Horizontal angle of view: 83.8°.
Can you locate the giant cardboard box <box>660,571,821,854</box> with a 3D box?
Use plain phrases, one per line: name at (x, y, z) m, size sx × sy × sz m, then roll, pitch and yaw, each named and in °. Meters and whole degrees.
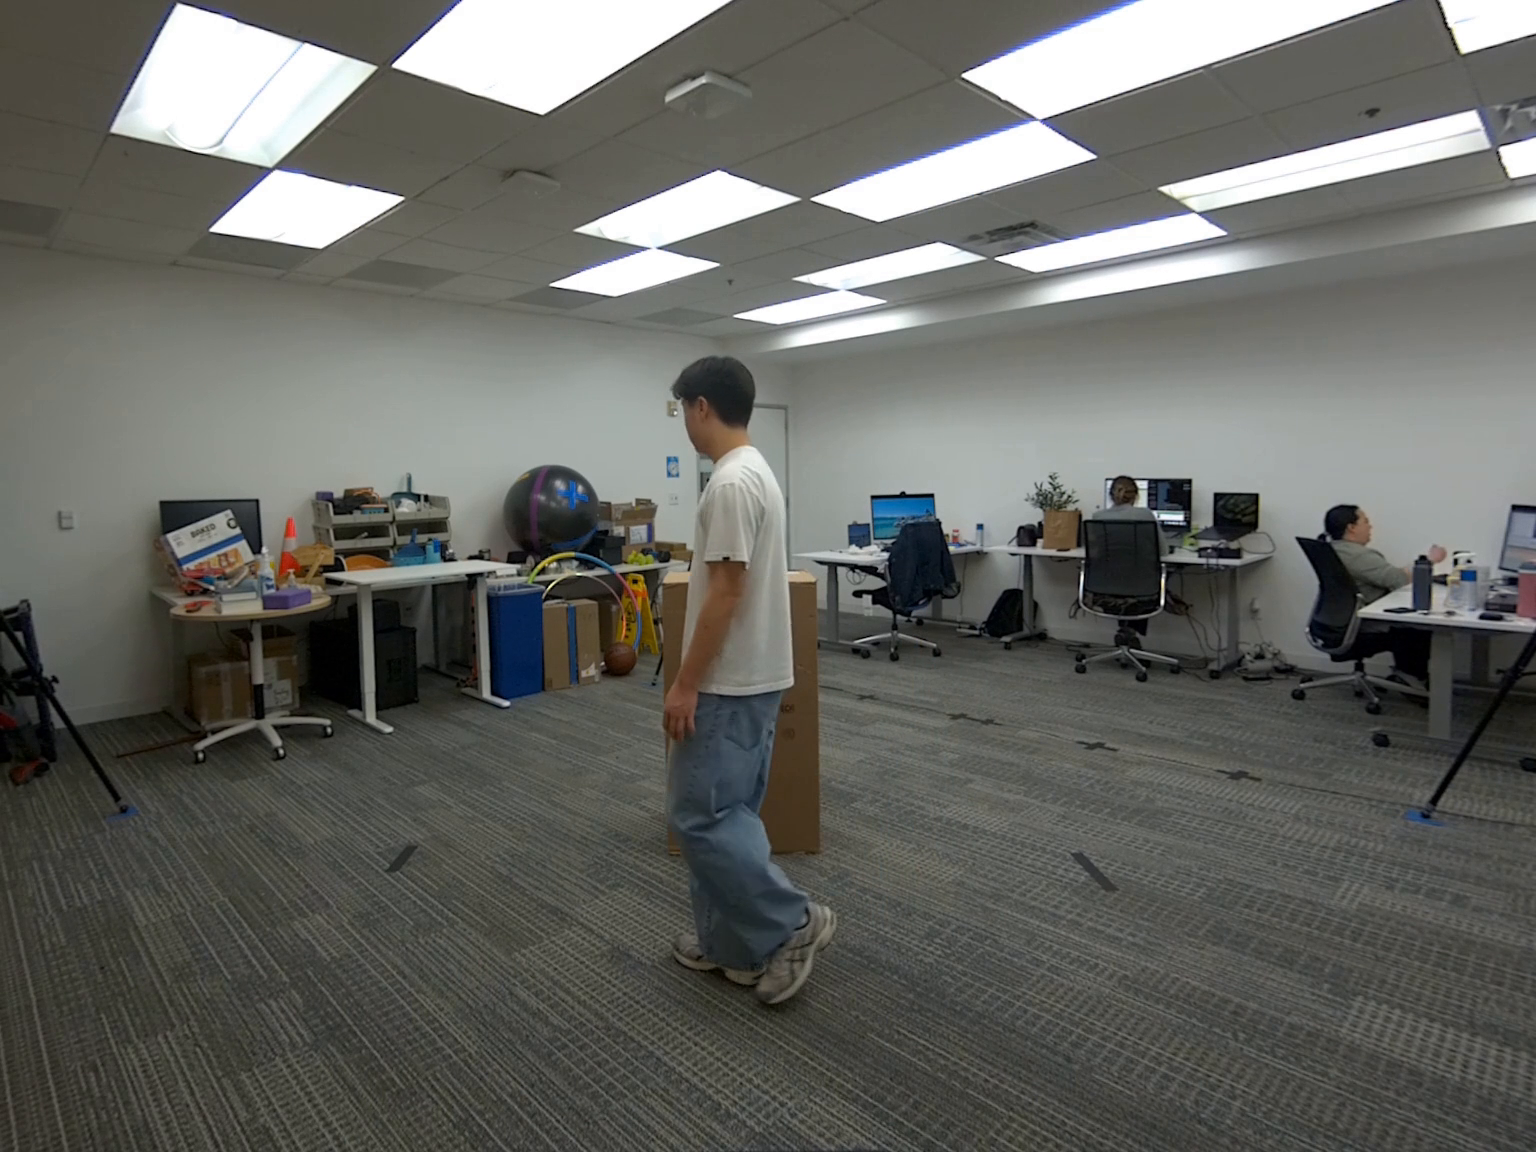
giant cardboard box at (-0.101, 0.506, 3.365) m, size 0.577 × 1.022 × 0.428 m, roll -1°, pitch 4°, yaw -2°
